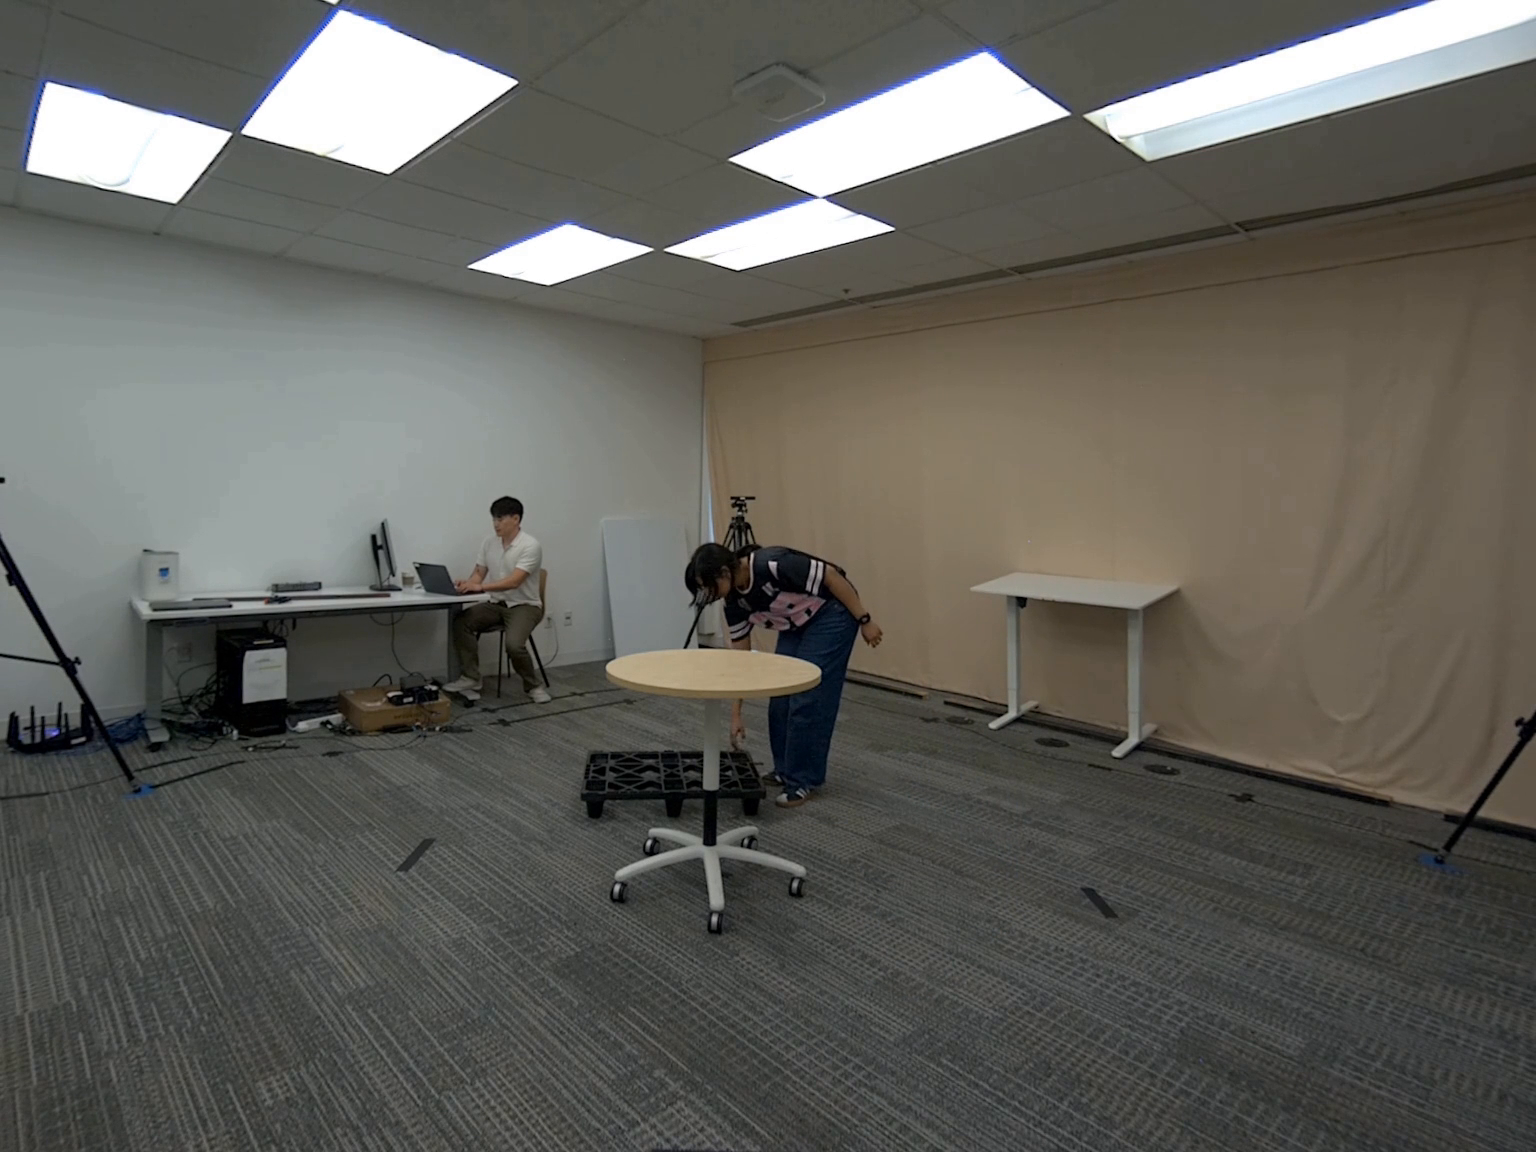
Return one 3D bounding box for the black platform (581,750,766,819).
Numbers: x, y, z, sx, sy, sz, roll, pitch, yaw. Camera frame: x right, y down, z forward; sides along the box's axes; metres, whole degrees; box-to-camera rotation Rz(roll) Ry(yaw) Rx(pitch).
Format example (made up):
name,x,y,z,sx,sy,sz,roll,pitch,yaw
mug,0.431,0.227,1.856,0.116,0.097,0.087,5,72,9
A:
name,x,y,z,sx,sy,sz,roll,pitch,yaw
black platform,-0.451,0.960,3.889,0.801,0.143,0.611,1,6,-8
